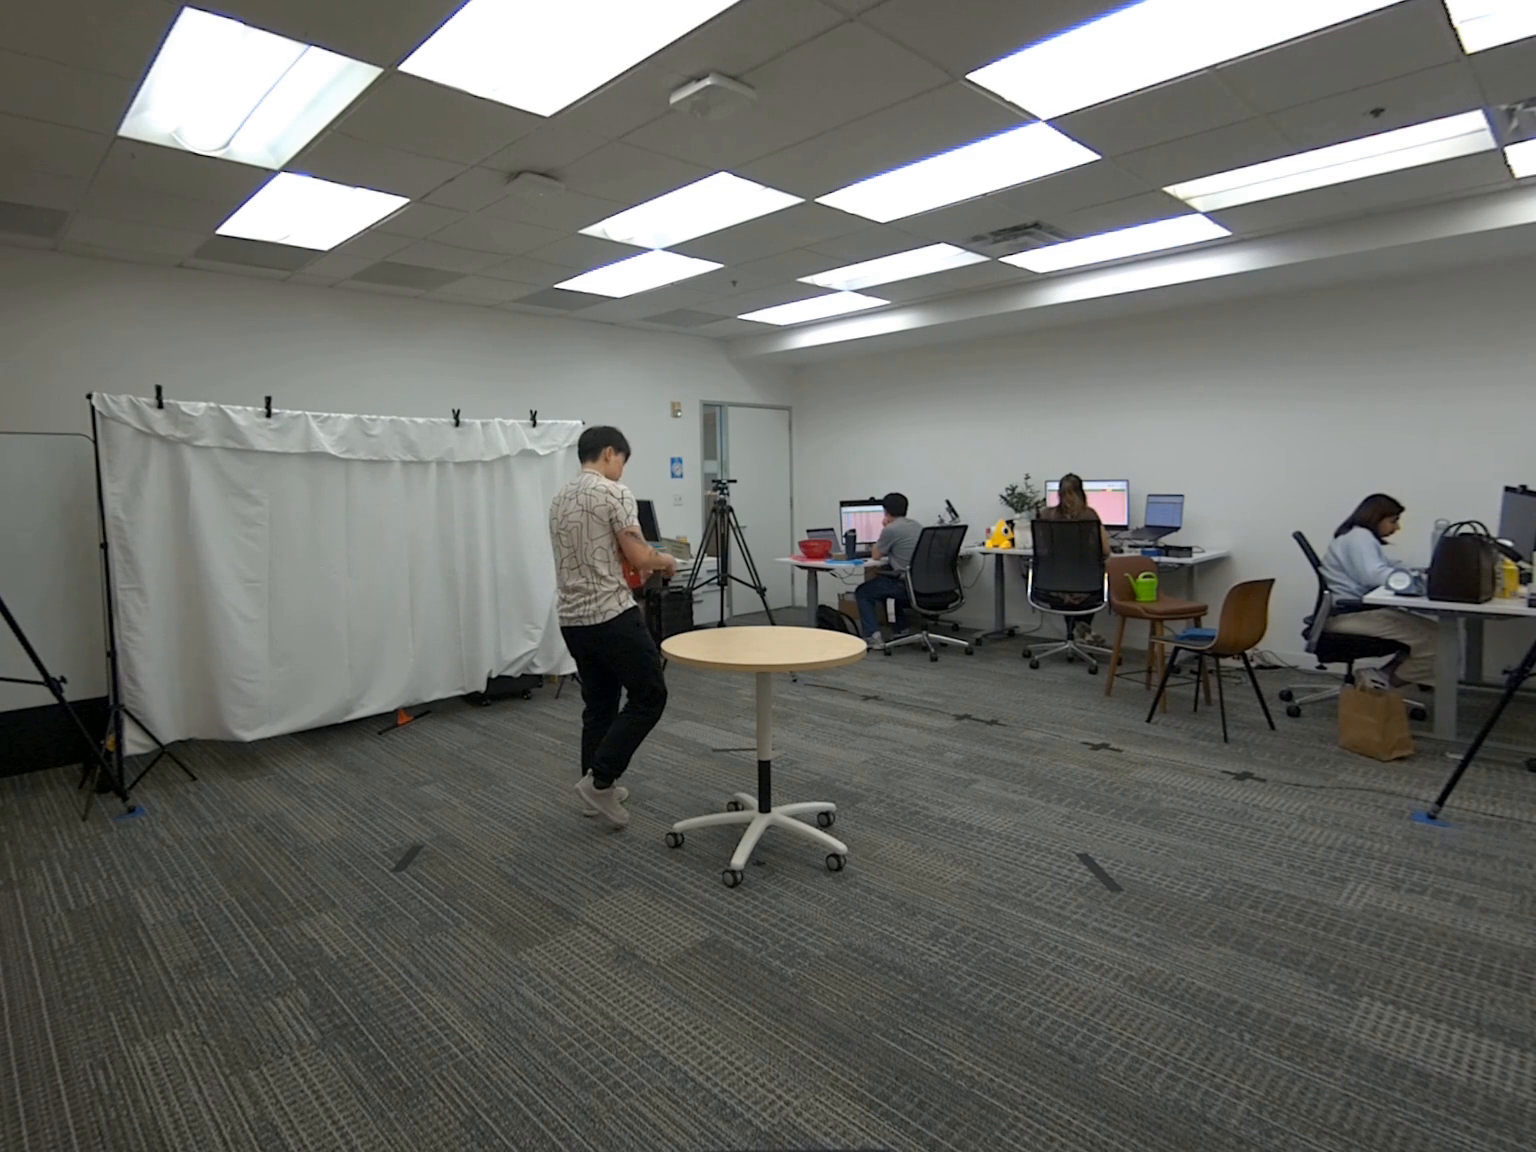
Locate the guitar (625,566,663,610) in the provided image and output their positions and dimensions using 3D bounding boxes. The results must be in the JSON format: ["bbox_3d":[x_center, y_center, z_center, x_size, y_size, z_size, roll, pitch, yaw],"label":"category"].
[{"bbox_3d":[-0.557,-0.003,3.717,0.071,0.196,0.489,-14,-14,0],"label":"guitar"}]
